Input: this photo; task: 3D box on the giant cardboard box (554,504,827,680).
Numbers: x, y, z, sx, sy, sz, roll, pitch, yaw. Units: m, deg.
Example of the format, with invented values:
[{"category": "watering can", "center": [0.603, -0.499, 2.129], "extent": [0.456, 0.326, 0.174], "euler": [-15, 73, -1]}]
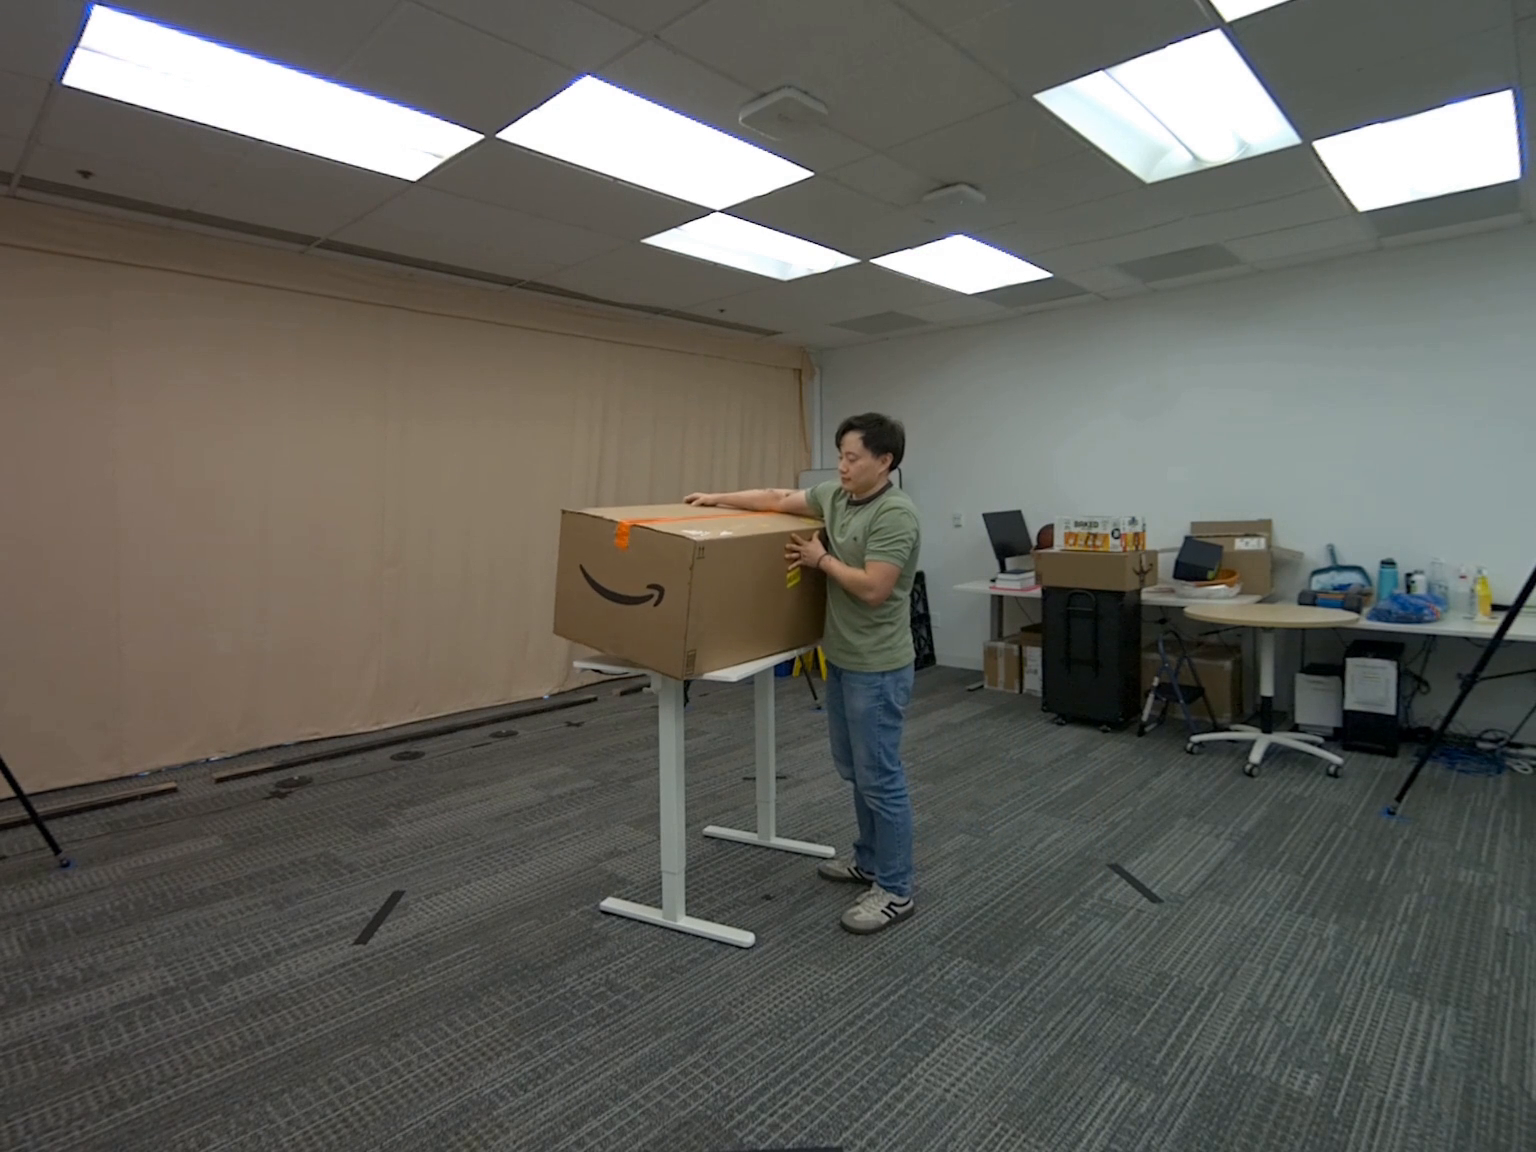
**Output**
[{"category": "giant cardboard box", "center": [-0.167, -0.005, 2.994], "extent": [0.597, 0.424, 0.997], "euler": [14, 13, 34]}]
